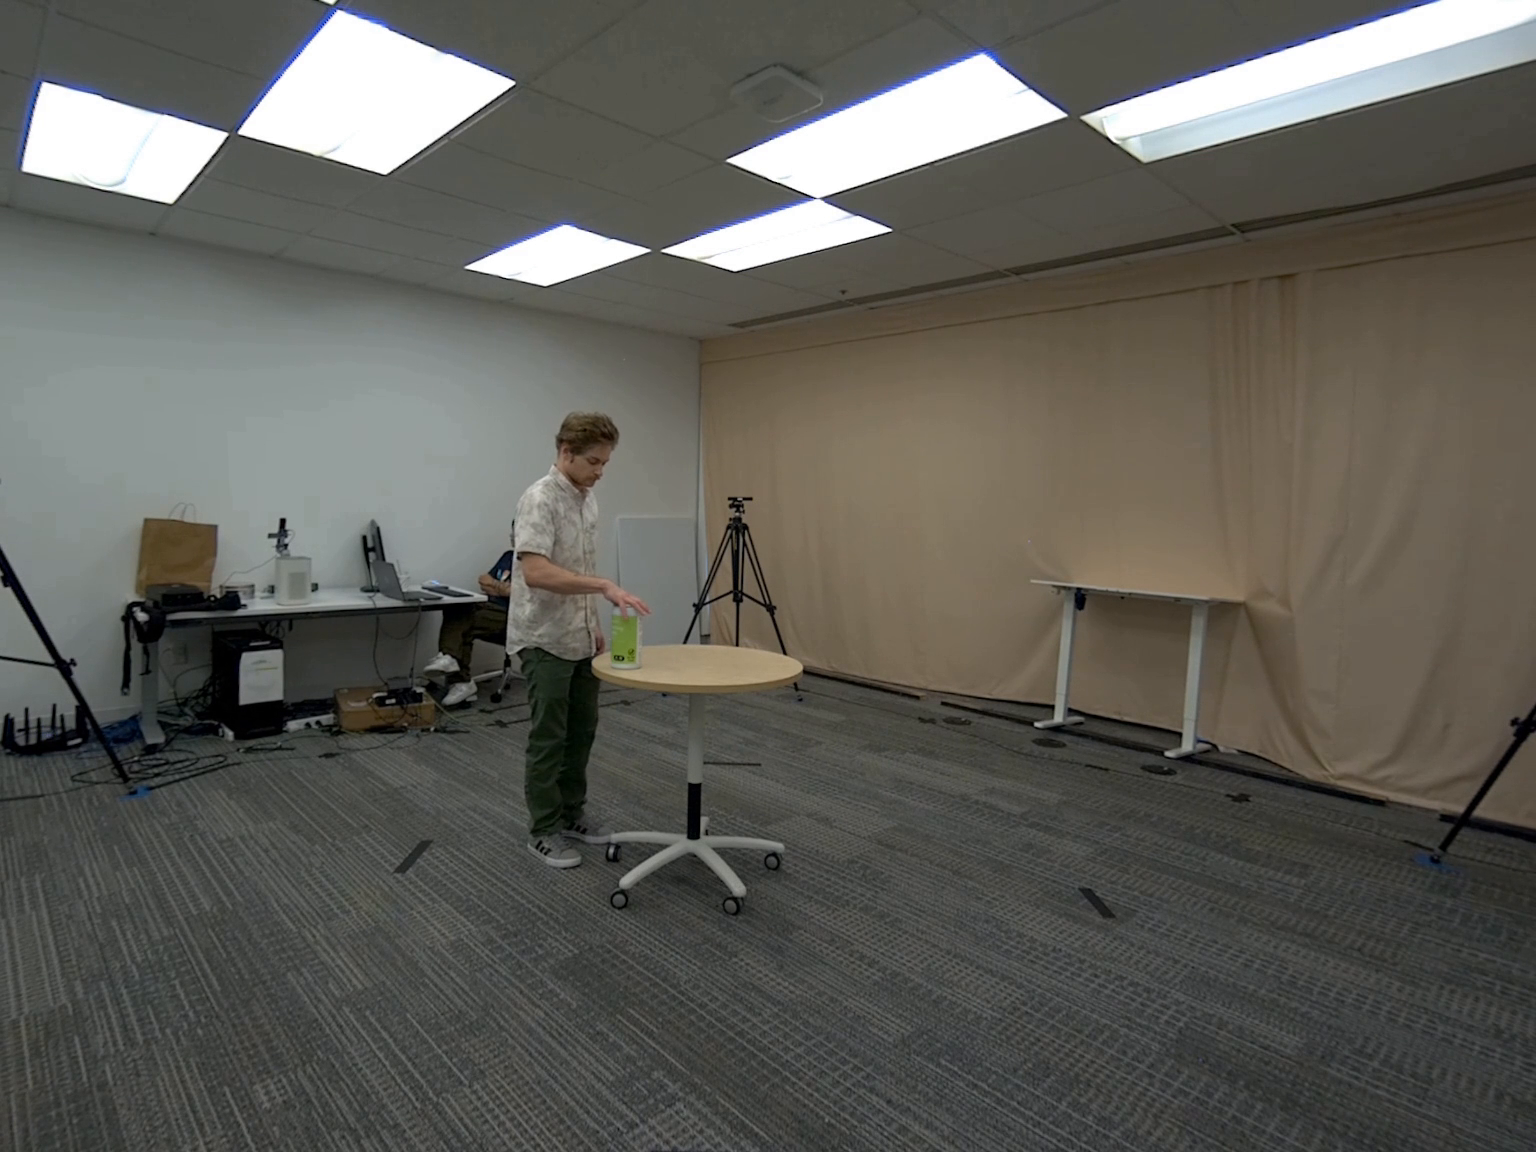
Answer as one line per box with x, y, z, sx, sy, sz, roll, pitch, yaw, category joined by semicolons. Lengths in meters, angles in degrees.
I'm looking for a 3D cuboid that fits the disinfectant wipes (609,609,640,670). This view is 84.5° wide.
-0.498;0.214;2.943;0.118;0.216;0.118;2;5;-2;disinfectant wipes
